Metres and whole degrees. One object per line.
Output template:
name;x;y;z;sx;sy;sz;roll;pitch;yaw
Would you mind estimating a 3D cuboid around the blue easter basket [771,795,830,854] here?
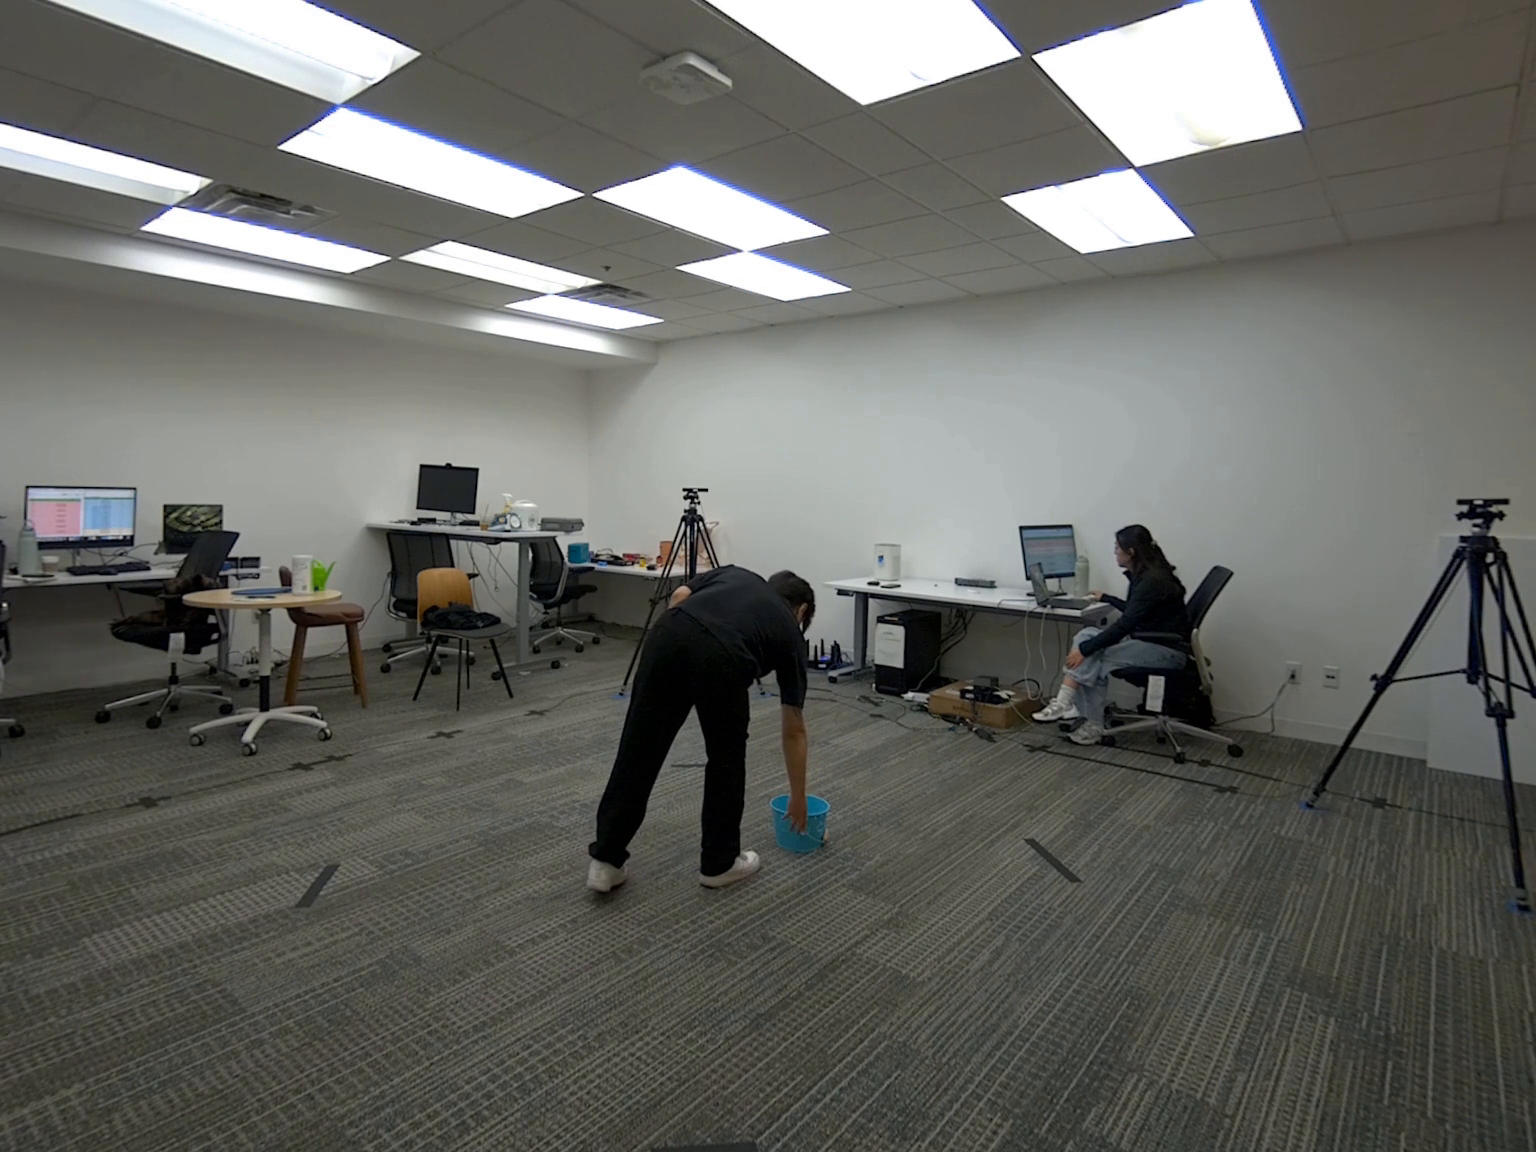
blue easter basket;0.120;0.976;3.367;0.243;0.155;0.245;1;4;-2
